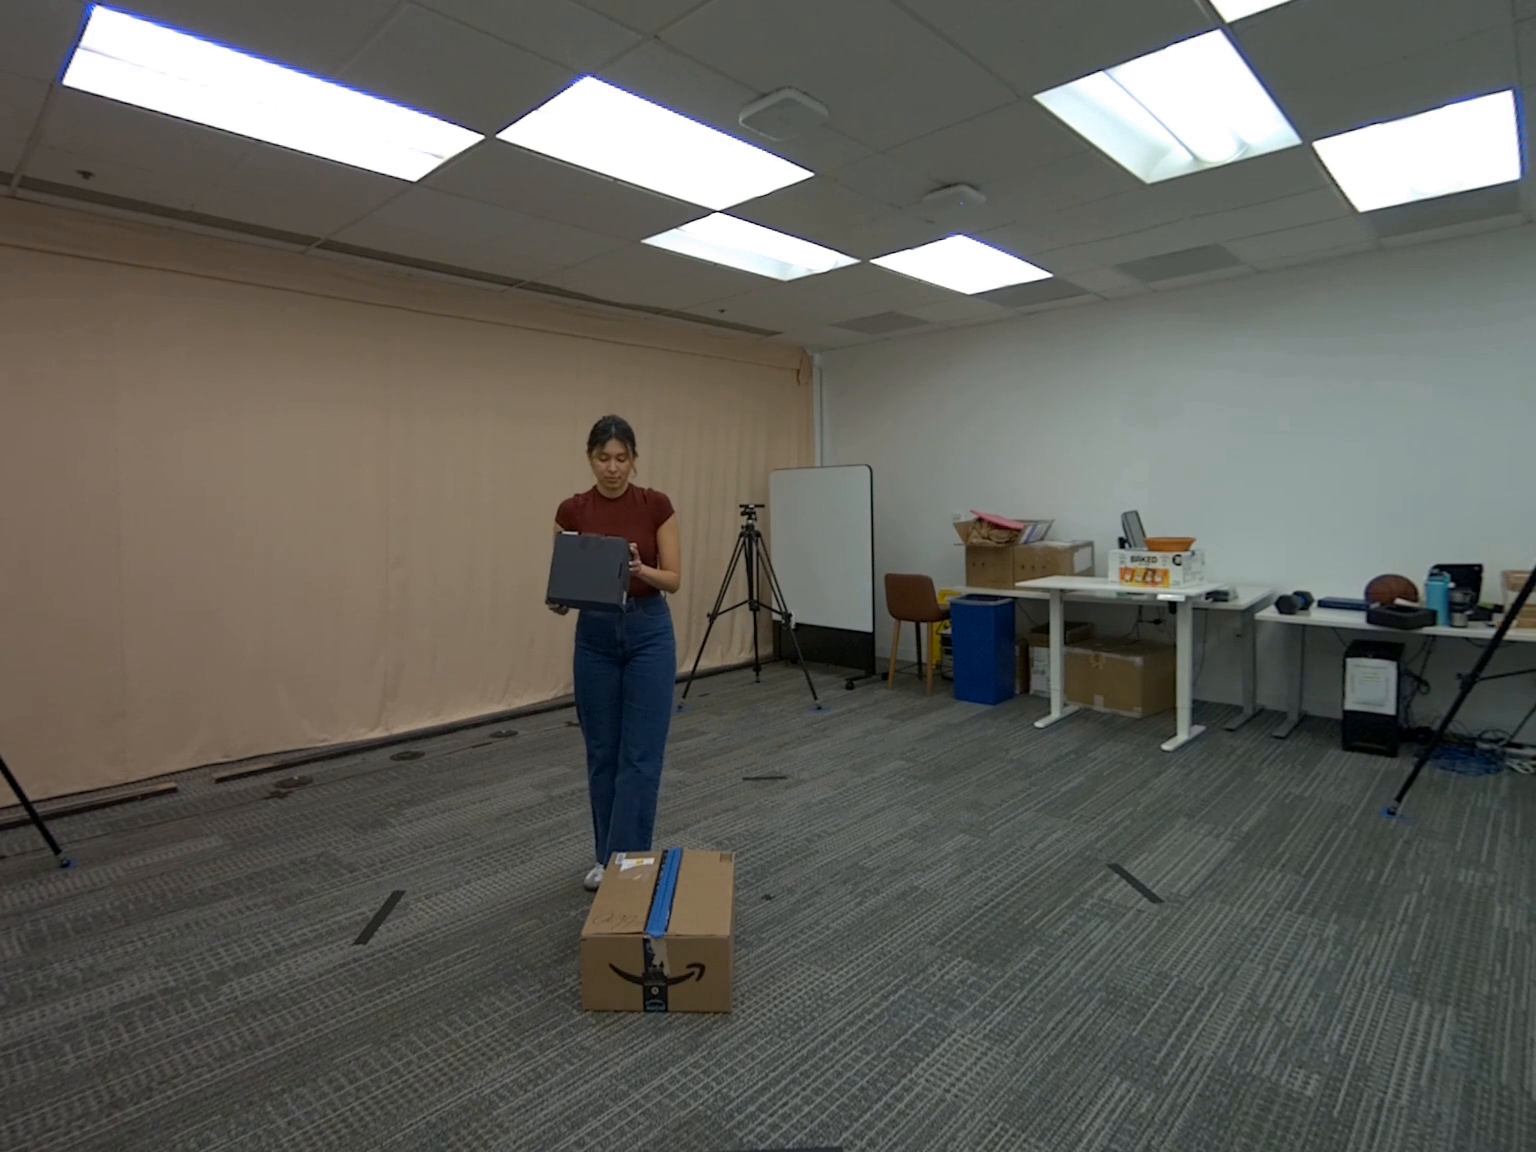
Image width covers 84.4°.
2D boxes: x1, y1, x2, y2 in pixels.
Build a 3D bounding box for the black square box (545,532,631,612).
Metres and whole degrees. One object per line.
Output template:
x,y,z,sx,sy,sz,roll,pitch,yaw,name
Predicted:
-0.566,-0.012,2.691,0.229,0.218,0.154,5,-13,4,black square box
